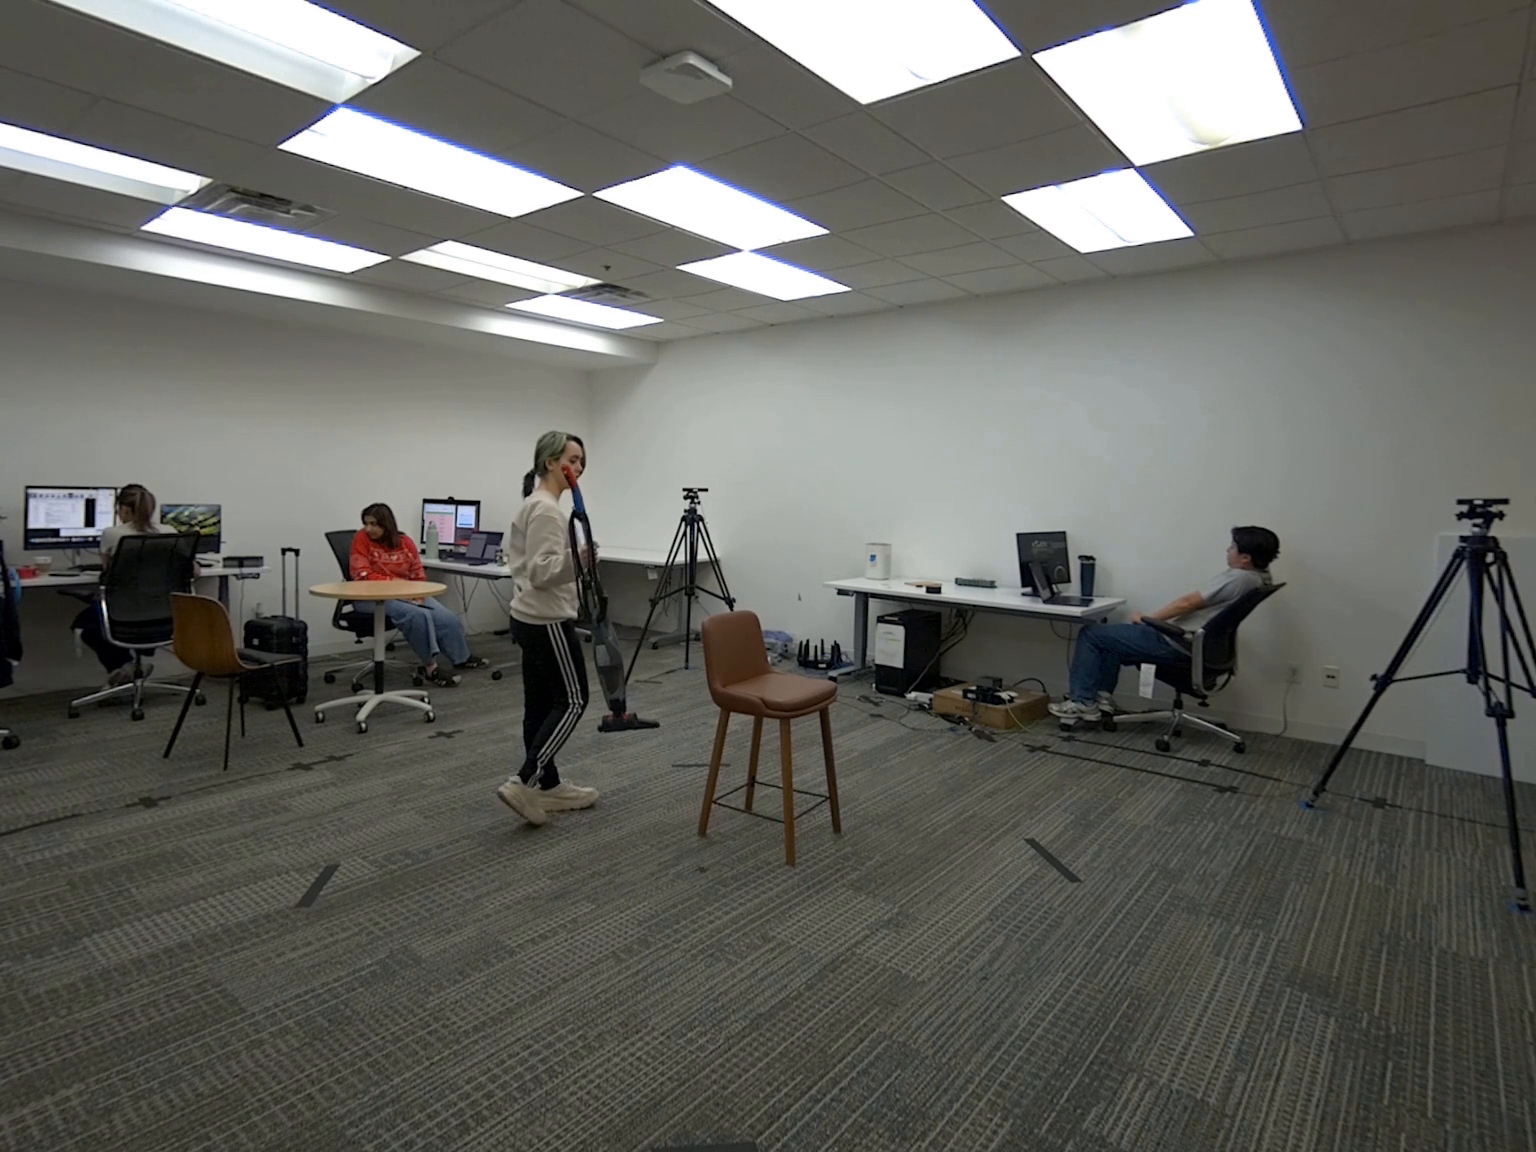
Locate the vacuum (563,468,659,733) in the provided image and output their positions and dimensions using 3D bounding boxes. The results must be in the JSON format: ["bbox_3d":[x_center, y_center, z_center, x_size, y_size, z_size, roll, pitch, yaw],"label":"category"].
[{"bbox_3d":[-0.683,0.090,3.254,0.255,1.034,0.144,-9,13,12],"label":"vacuum"}]
